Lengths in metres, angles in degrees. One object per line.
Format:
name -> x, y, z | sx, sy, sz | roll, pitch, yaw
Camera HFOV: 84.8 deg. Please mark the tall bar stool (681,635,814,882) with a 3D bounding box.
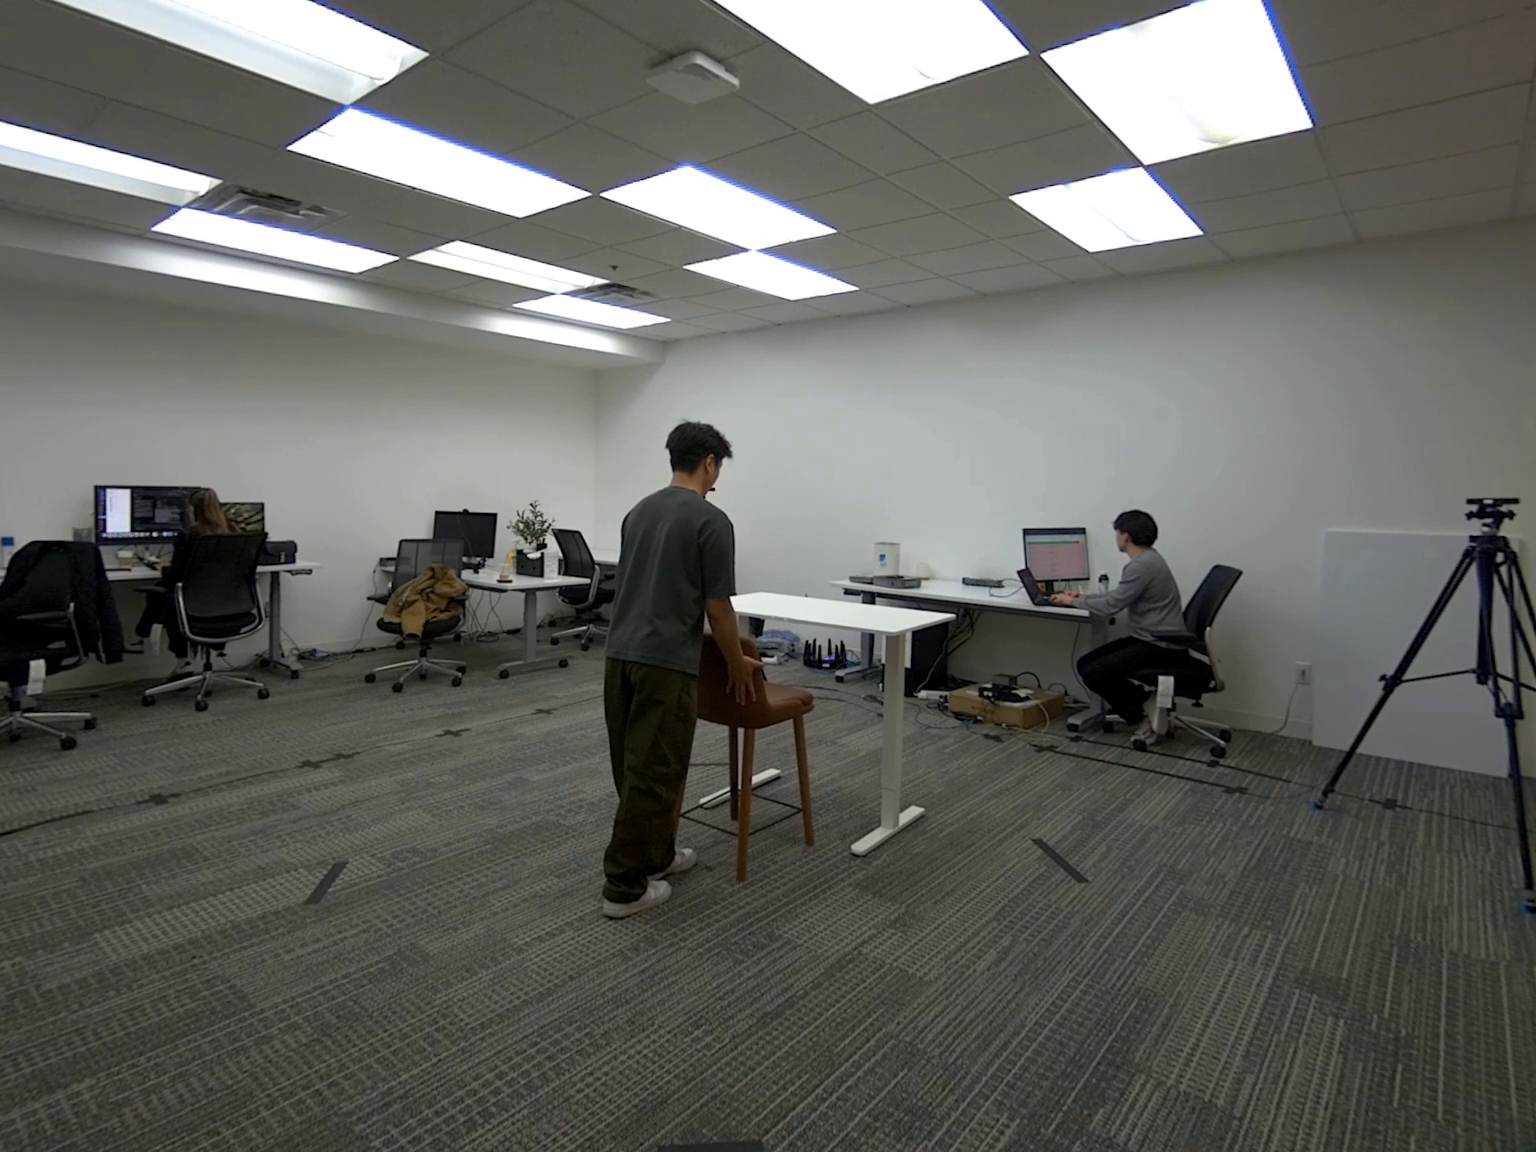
tall bar stool -> -0.115, 0.614, 3.269 | 0.471, 0.886, 0.455 | 4, 6, 37
